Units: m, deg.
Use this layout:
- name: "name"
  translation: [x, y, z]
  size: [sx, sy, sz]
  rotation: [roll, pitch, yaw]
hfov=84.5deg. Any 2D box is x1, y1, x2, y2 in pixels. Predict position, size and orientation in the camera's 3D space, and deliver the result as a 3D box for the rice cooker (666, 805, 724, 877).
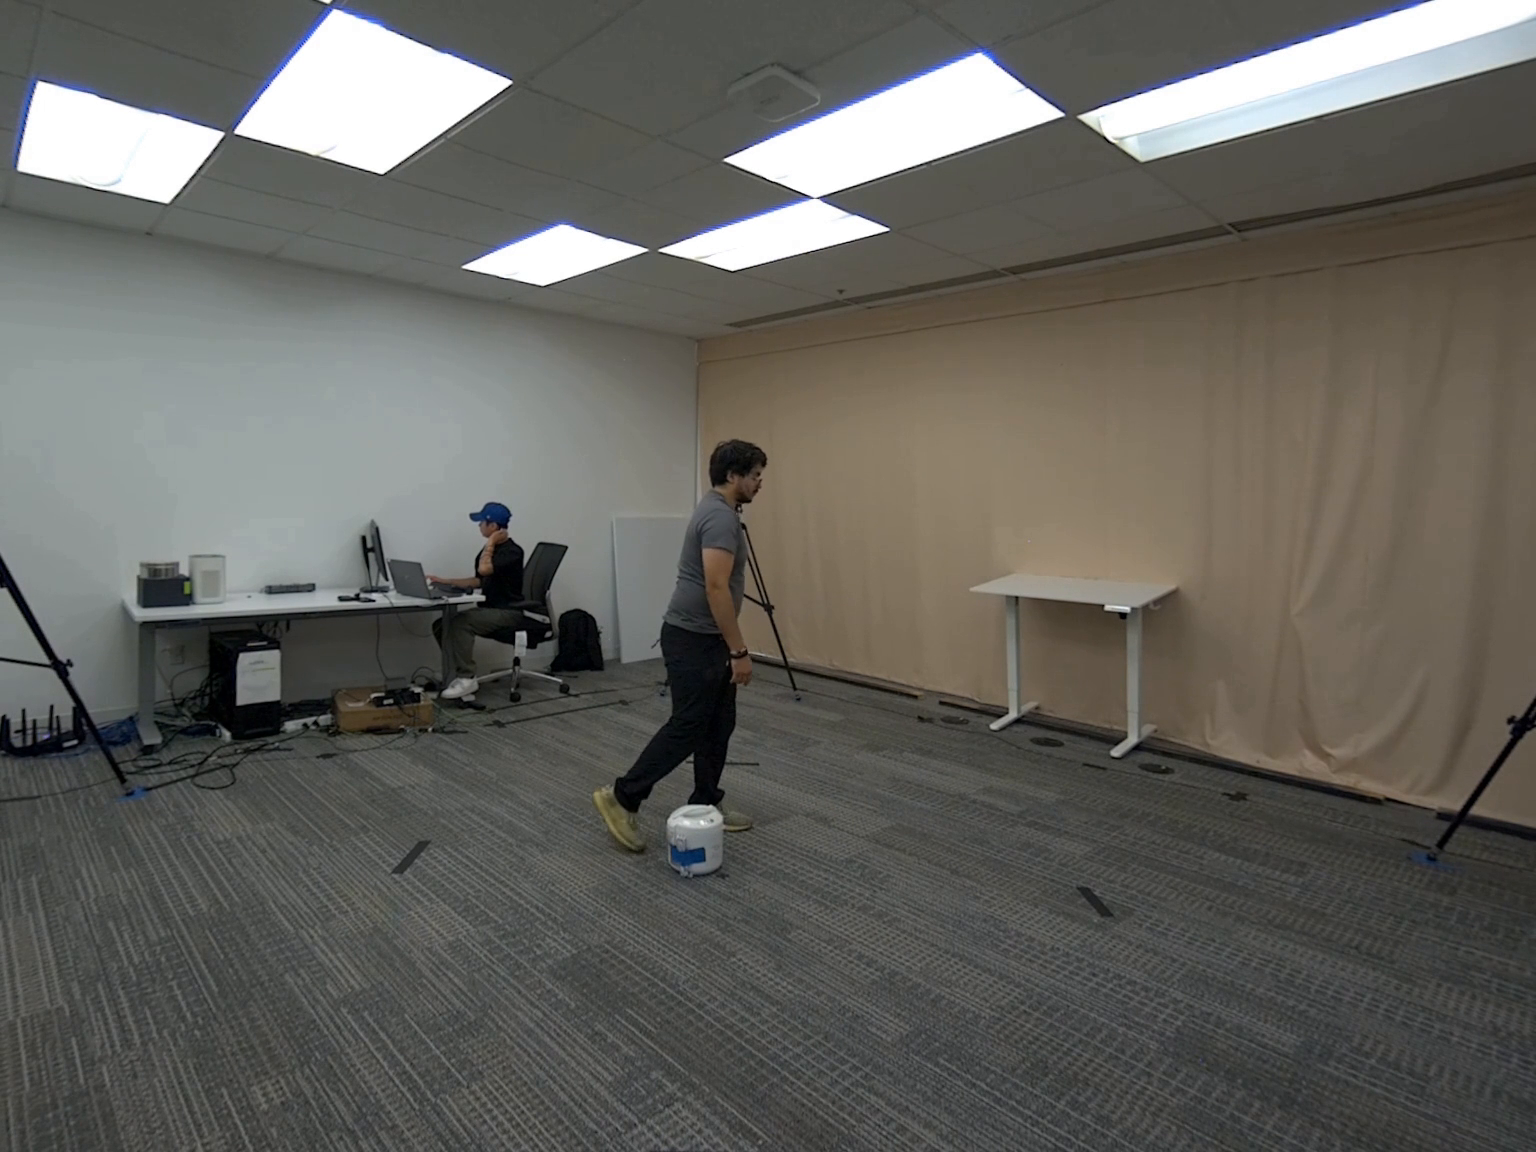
- name: "rice cooker"
  translation: [-0.284, 0.984, 3.169]
  size: [0.216, 0.232, 0.222]
  rotation: [0, 5, -25]
